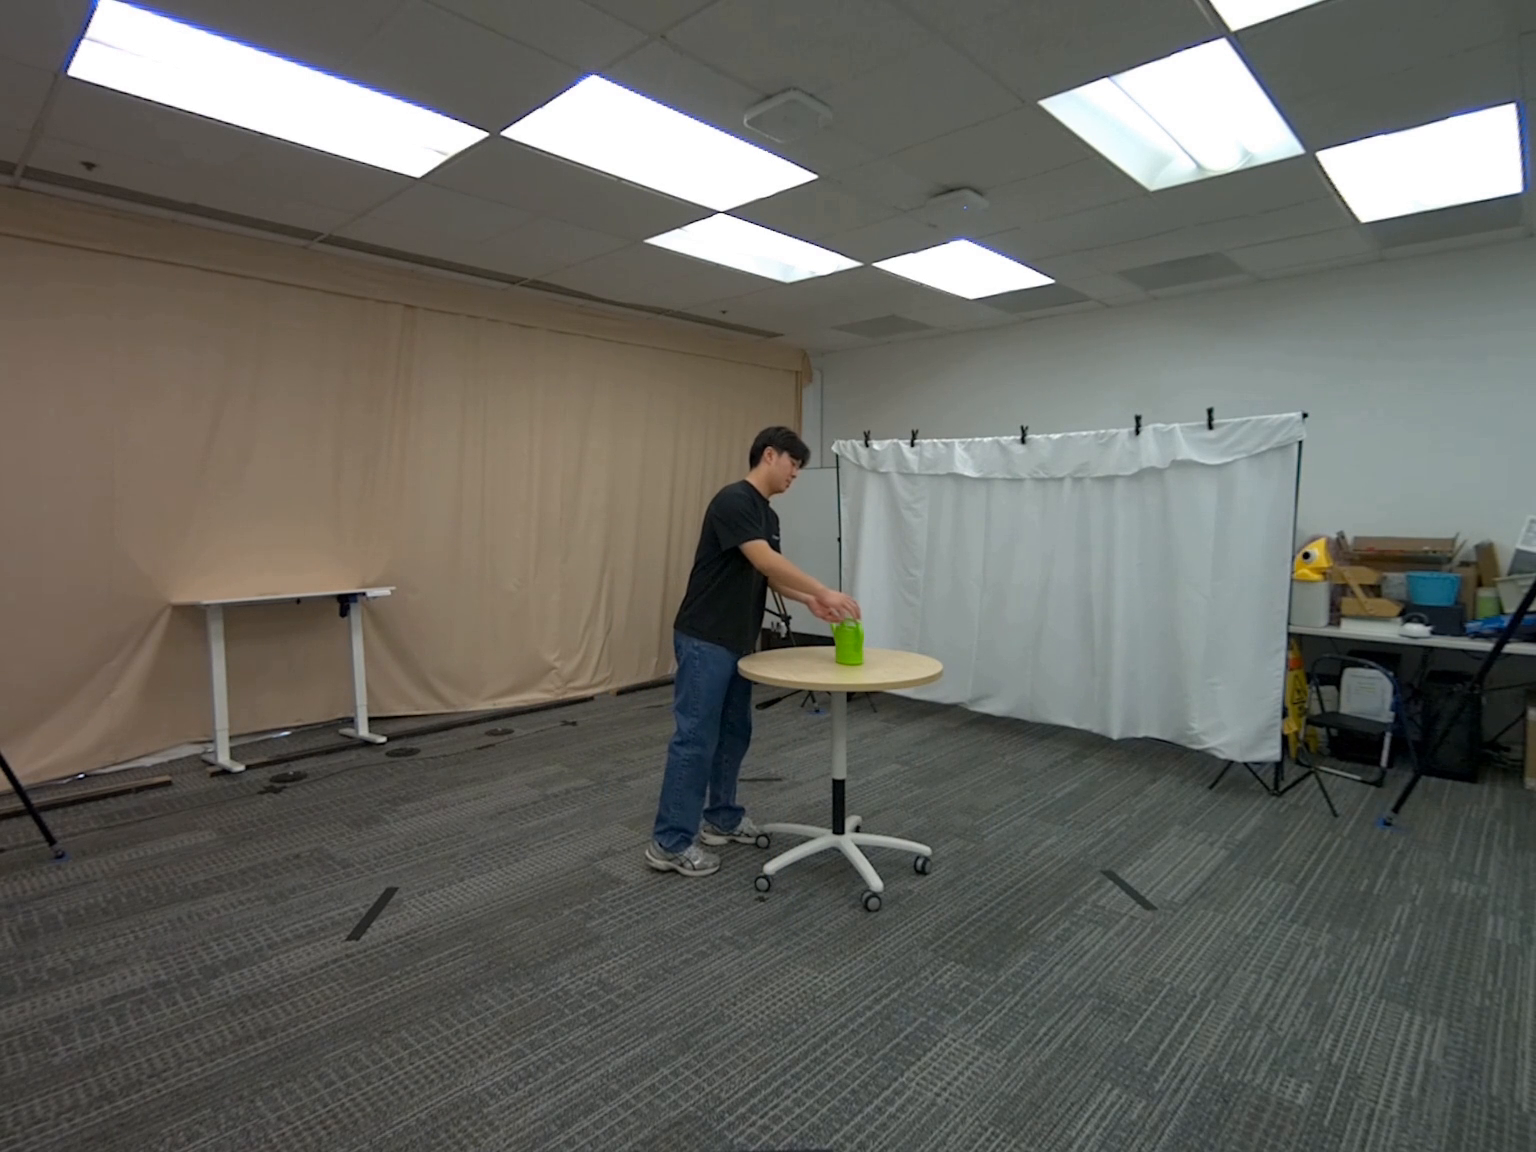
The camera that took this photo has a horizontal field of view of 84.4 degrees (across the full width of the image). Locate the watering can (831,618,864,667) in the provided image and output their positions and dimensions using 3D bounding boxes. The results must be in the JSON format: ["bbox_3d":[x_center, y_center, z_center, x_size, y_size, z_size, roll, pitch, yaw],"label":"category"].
[{"bbox_3d":[0.304,0.239,3.230,0.097,0.176,0.281,-1,4,-7],"label":"watering can"}]
